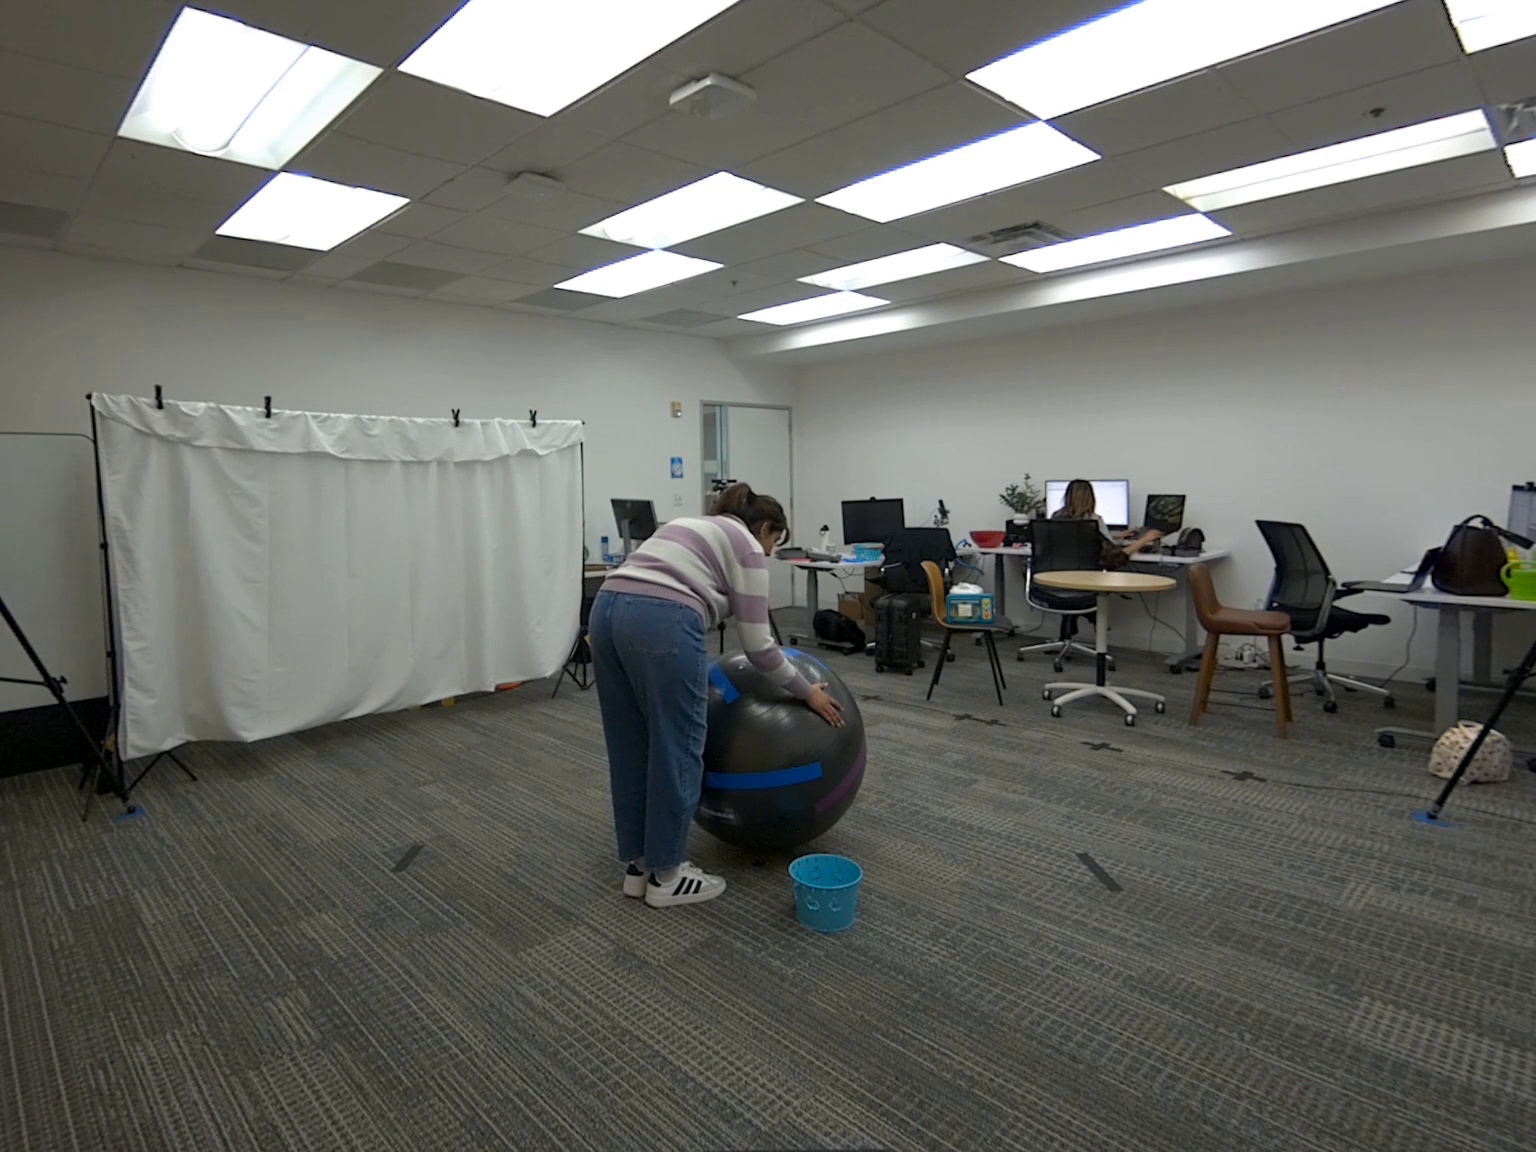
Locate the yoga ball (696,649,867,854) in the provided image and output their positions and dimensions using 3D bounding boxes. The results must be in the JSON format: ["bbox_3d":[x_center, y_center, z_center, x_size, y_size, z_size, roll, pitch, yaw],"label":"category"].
[{"bbox_3d":[-0.005,0.654,3.240,0.757,0.755,0.762,-1,5,-2],"label":"yoga ball"}]
